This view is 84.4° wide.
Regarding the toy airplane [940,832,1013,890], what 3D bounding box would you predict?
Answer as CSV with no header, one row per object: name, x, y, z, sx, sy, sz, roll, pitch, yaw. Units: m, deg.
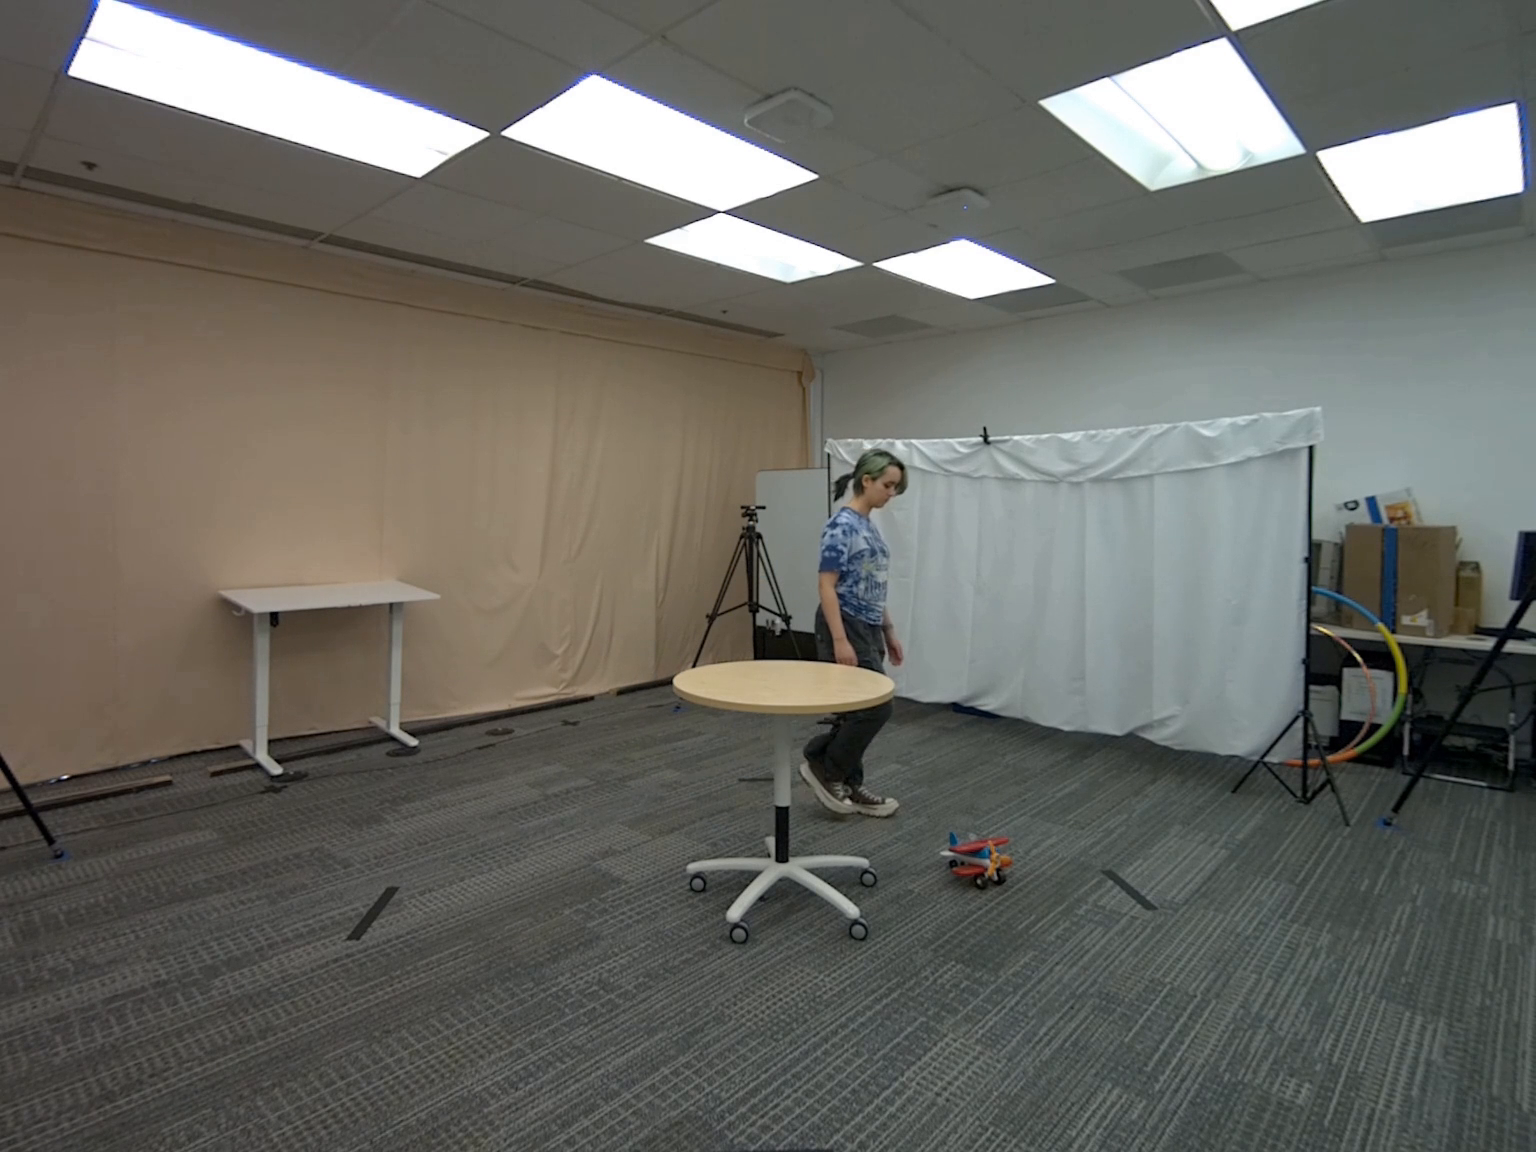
toy airplane,0.760,1.054,3.139,0.267,0.156,0.244,4,6,35
